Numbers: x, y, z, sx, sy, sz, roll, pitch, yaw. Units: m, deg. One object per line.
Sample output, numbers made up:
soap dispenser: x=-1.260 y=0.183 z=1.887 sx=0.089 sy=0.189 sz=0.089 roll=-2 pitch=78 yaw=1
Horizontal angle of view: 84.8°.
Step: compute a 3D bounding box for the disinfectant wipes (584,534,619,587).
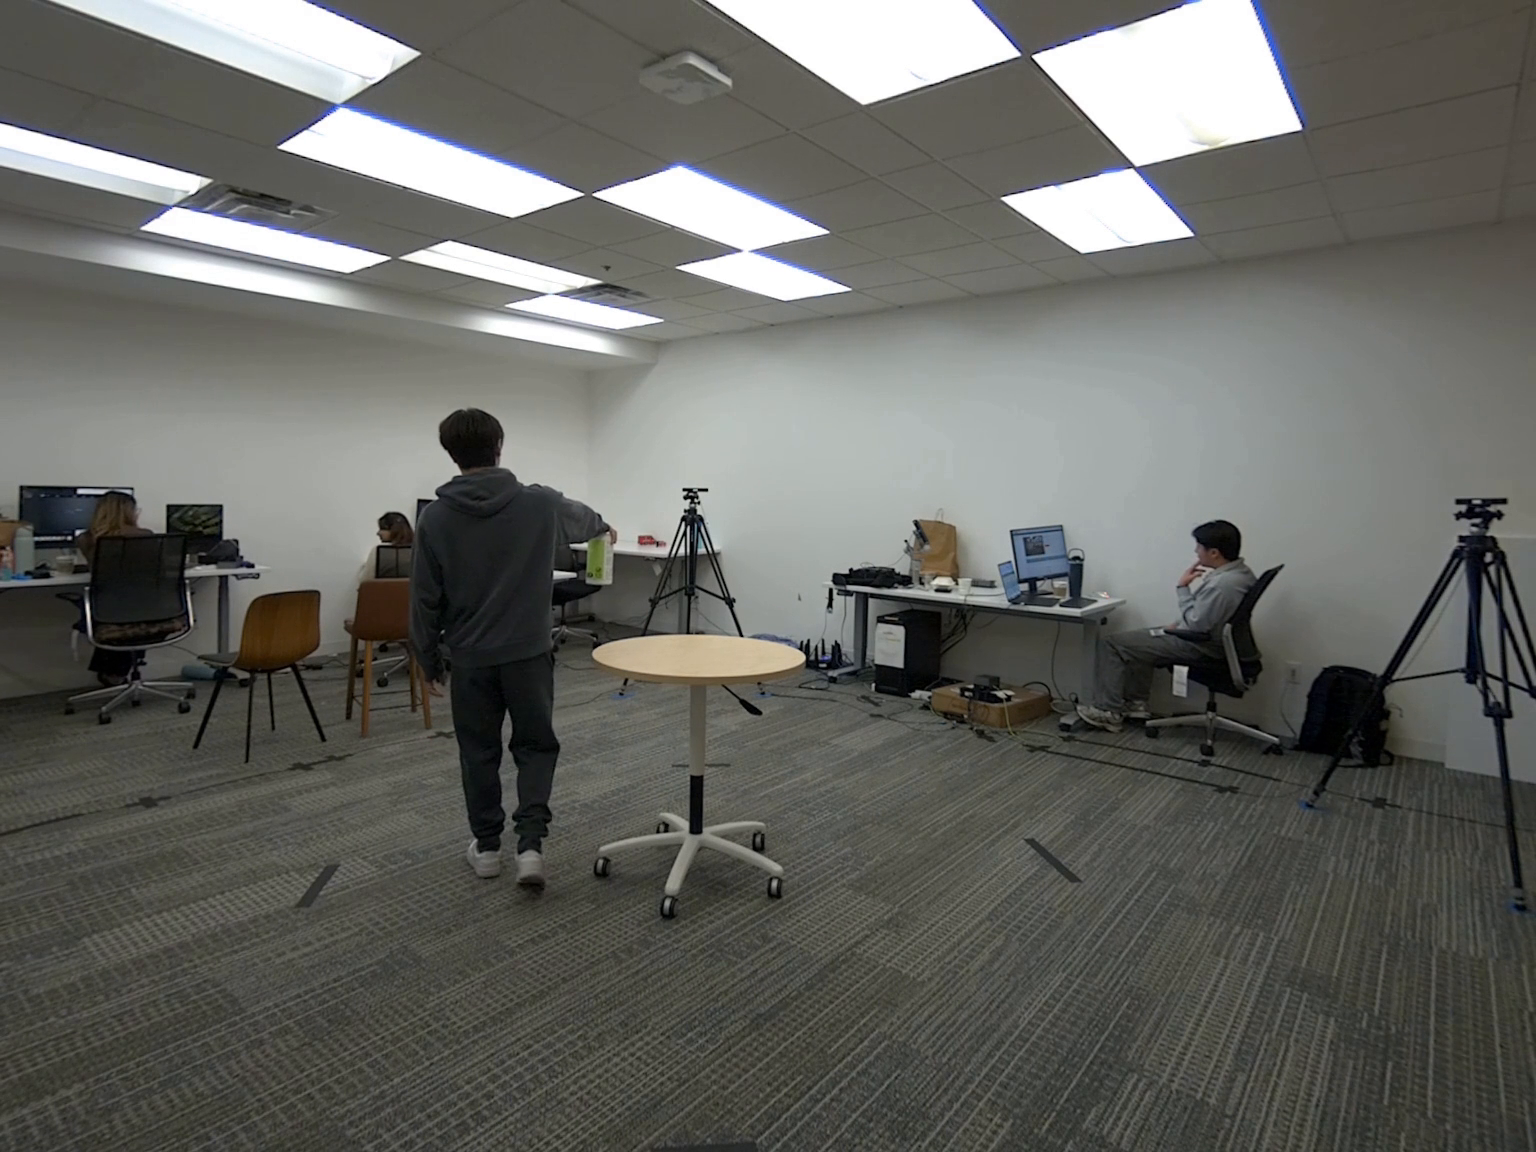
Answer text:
disinfectant wipes: x=-0.708 y=-0.073 z=3.574 sx=0.118 sy=0.217 sz=0.118 roll=4 pitch=0 yaw=-2
